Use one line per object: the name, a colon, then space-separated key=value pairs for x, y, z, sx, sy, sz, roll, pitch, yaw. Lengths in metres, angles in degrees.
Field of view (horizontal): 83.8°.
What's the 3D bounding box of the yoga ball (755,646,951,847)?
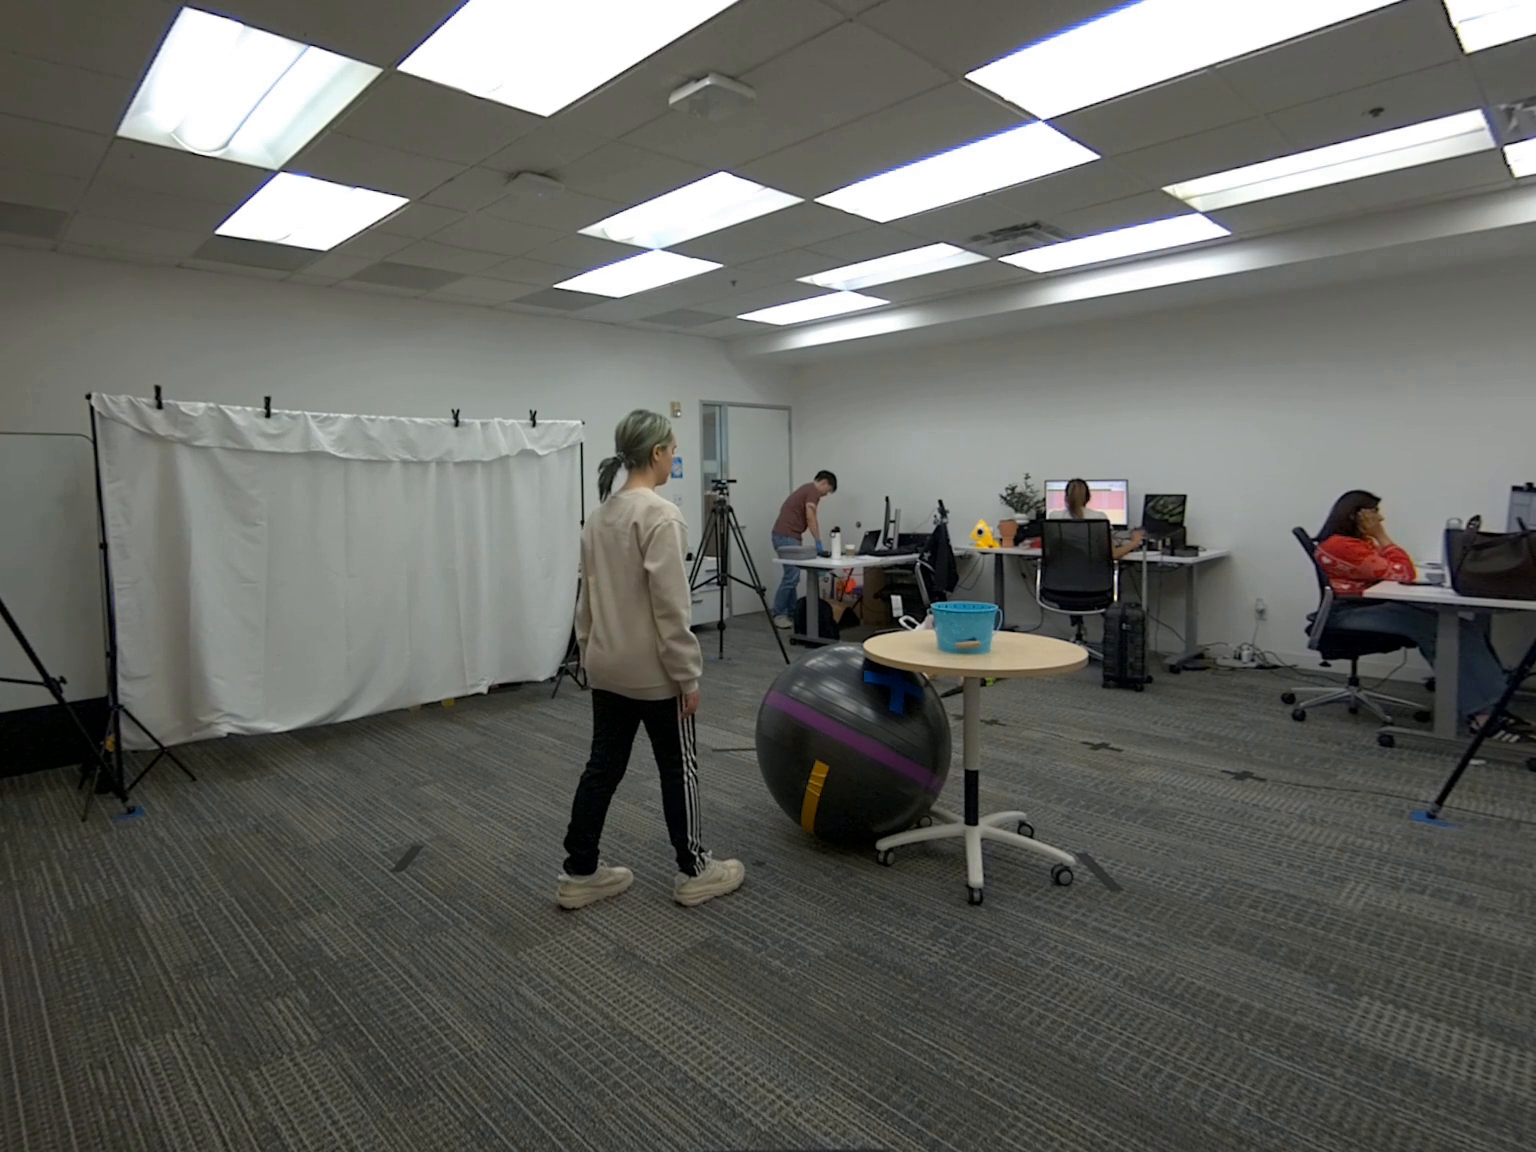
yoga ball: x=0.336 y=0.647 z=3.346 sx=0.757 sy=0.755 sz=0.762 roll=-1 pitch=5 yaw=-2
